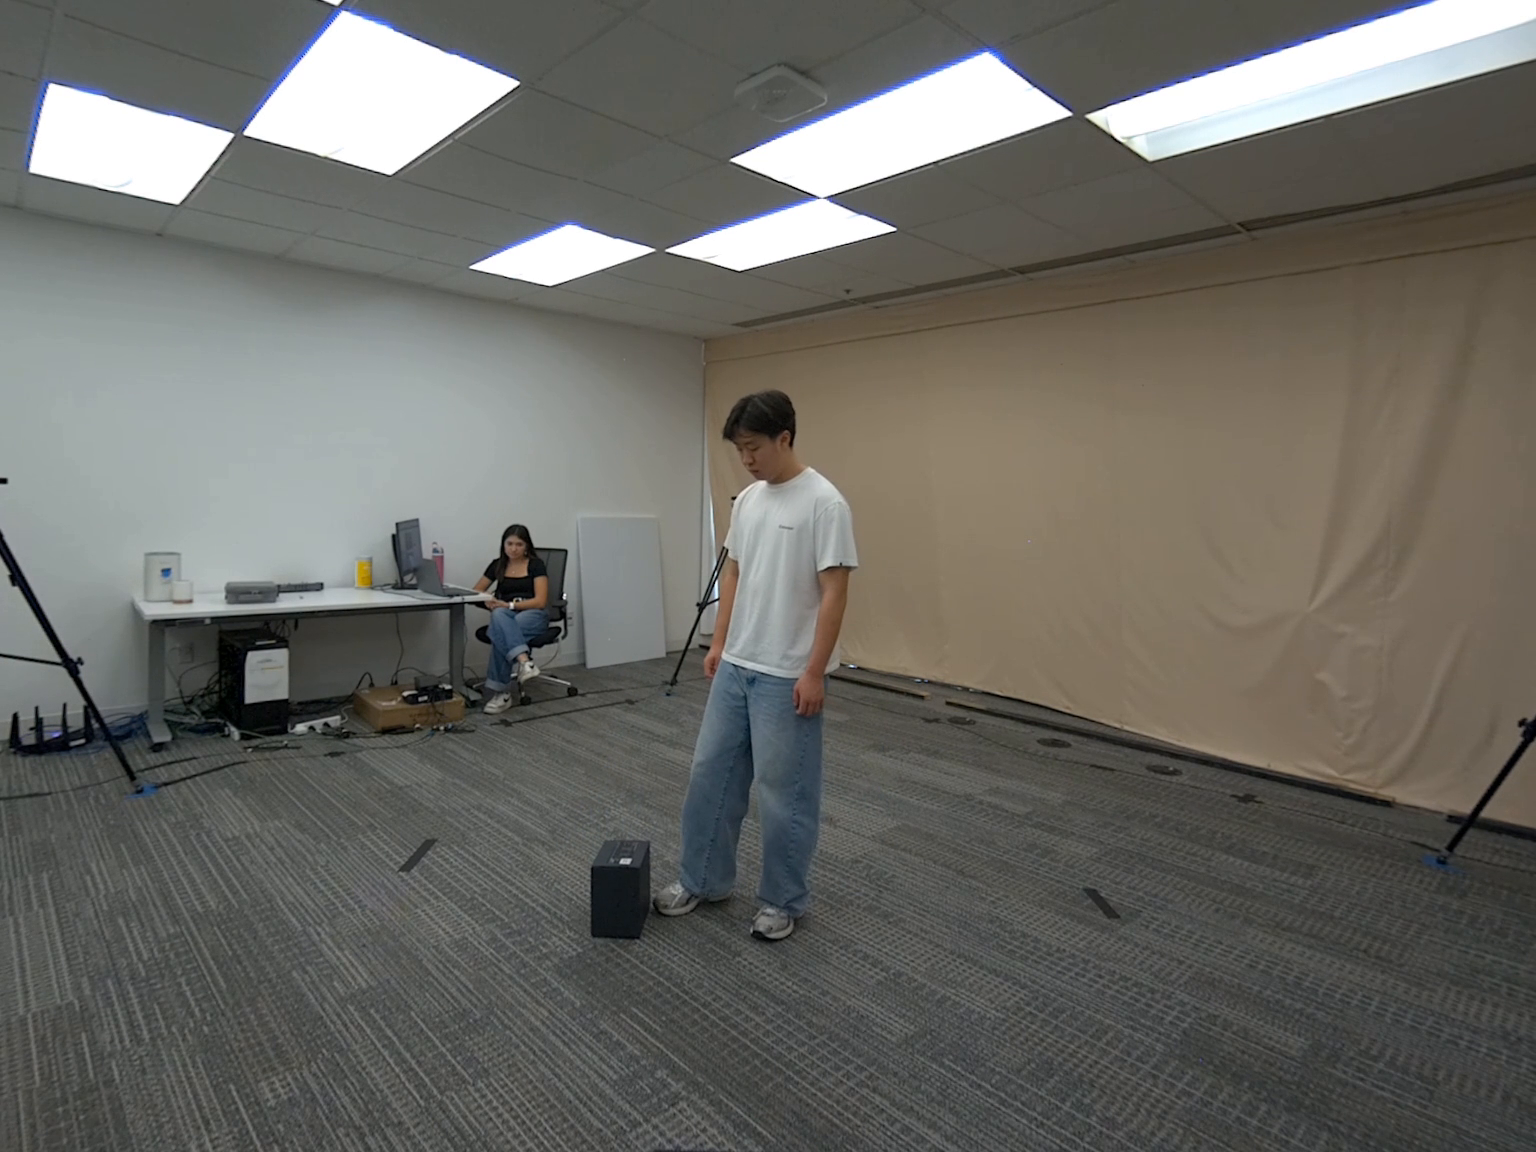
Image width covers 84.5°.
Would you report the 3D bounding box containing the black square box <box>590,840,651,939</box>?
[{"bbox_3d":[-0.476,1.007,2.742,0.156,0.227,0.217,0,4,2],"label":"black square box"}]
